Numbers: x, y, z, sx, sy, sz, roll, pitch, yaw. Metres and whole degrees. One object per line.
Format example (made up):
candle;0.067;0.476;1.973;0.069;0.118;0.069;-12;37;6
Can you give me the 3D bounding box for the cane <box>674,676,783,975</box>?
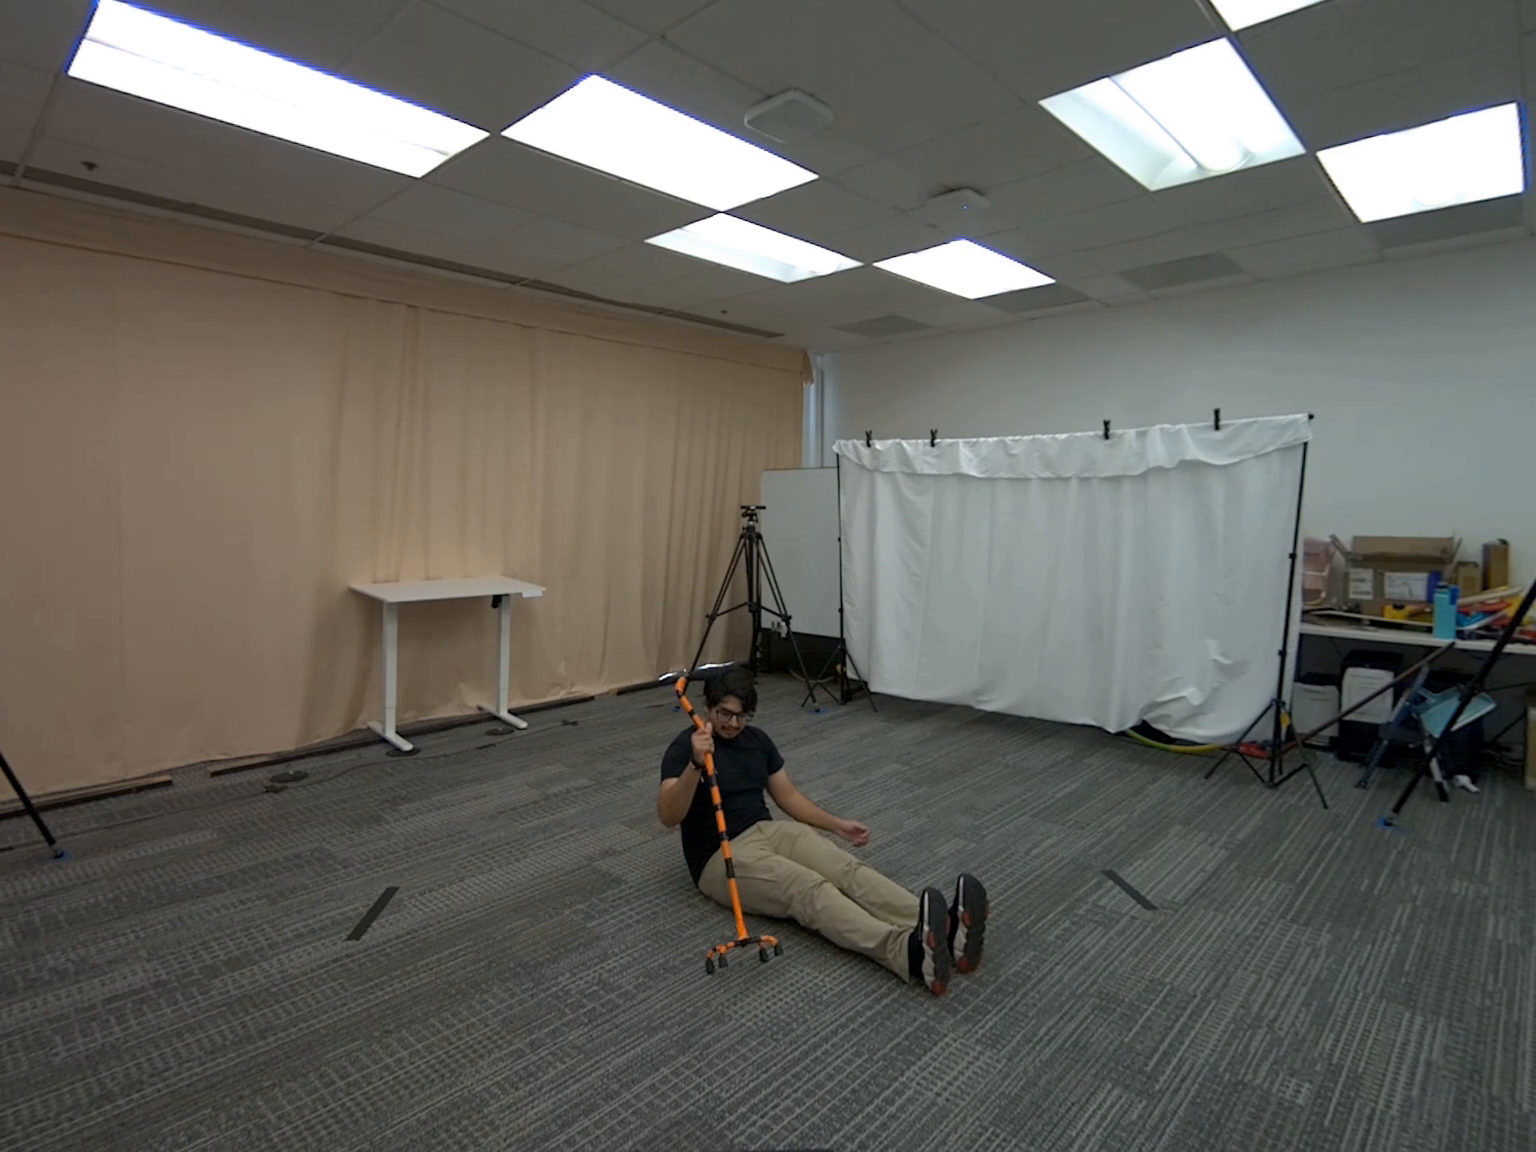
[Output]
cane;-0.161;0.732;2.689;0.202;0.925;0.152;0;-27;-24
